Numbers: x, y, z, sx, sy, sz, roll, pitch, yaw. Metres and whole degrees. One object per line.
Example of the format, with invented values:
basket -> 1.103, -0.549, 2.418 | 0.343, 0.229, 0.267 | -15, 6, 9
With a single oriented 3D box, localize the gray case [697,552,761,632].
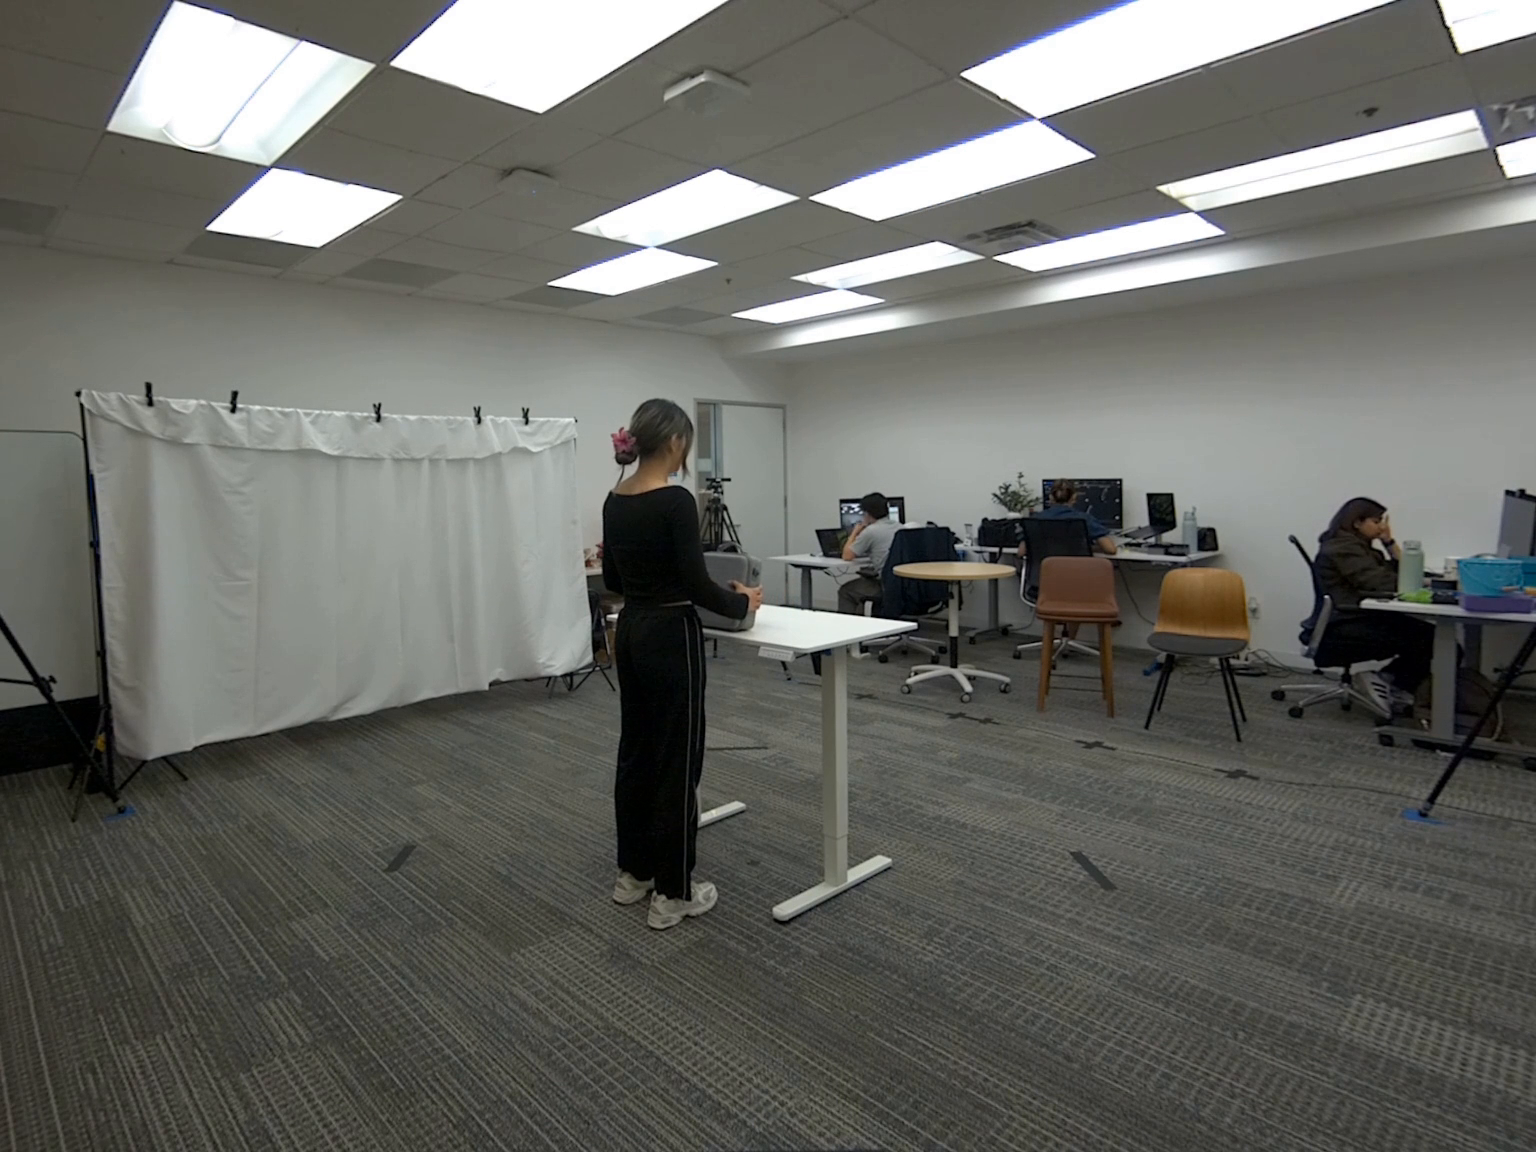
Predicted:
gray case -> -0.157, 0.046, 2.933 | 0.101, 0.261, 0.265 | 9, -4, -44
